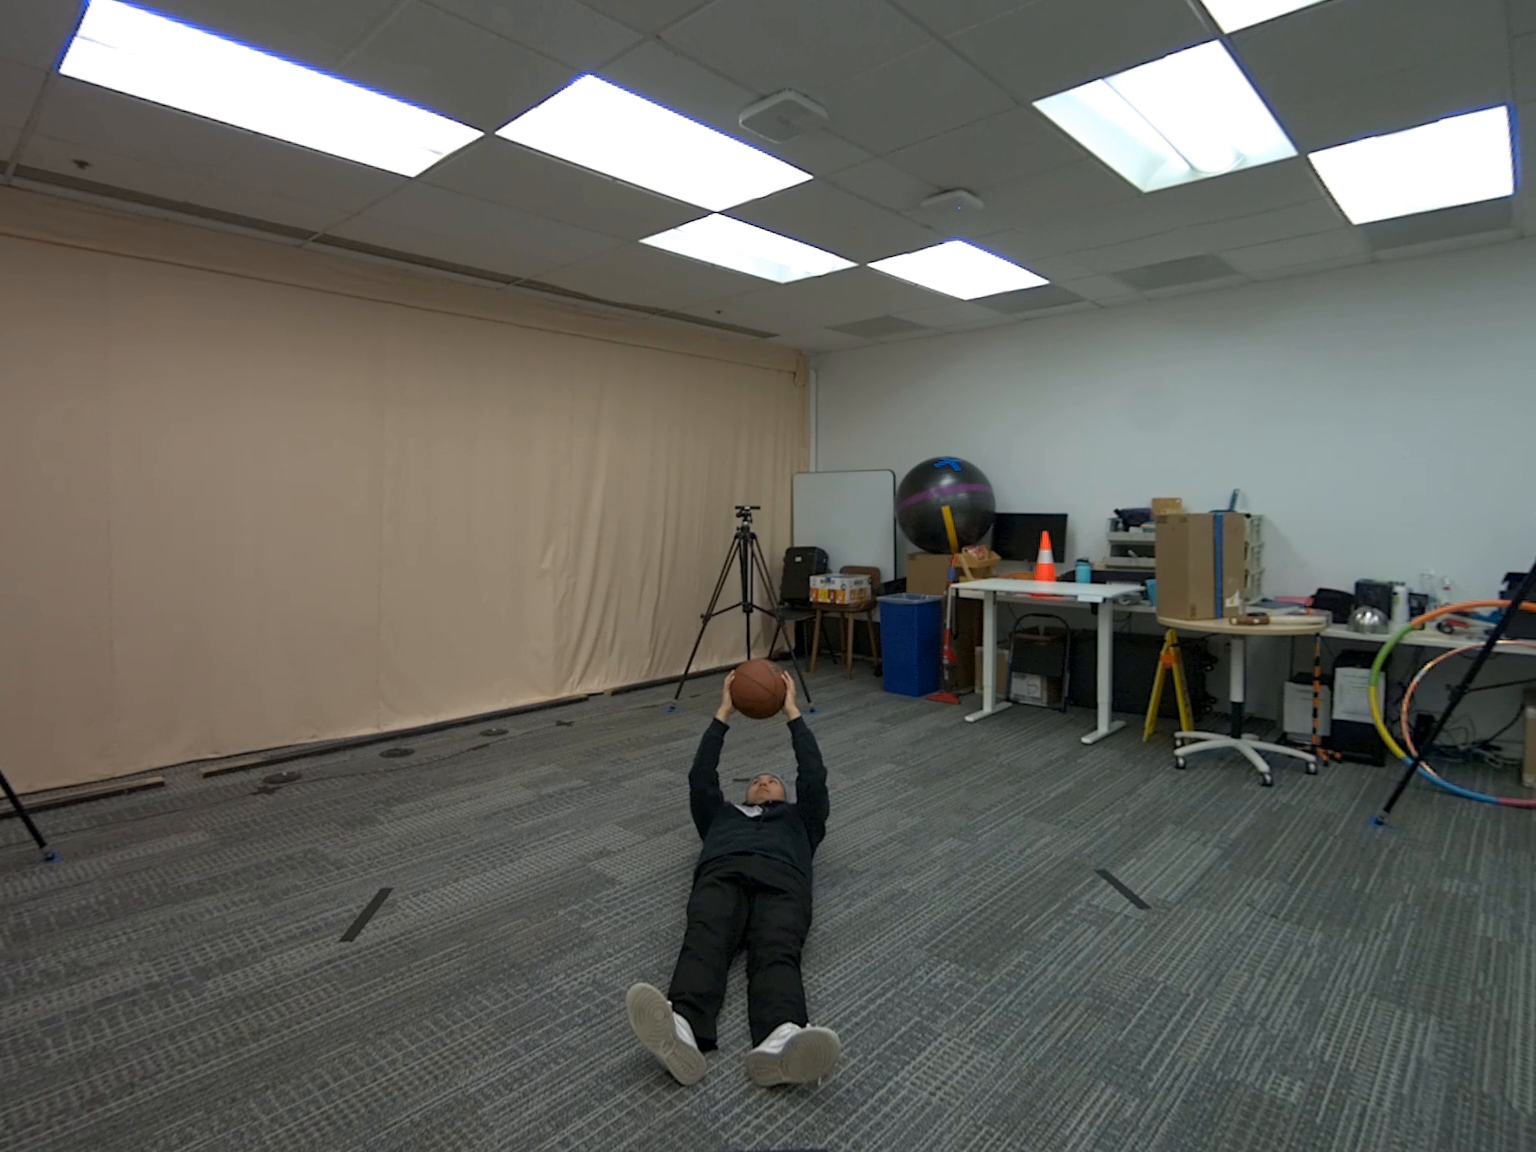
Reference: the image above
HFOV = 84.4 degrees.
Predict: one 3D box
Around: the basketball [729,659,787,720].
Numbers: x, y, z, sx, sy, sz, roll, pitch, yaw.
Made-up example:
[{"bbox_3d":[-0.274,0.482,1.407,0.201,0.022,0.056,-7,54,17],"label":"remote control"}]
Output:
[{"bbox_3d":[-0.031,0.451,3.350,0.236,0.235,0.237,0,4,-2],"label":"basketball"}]
